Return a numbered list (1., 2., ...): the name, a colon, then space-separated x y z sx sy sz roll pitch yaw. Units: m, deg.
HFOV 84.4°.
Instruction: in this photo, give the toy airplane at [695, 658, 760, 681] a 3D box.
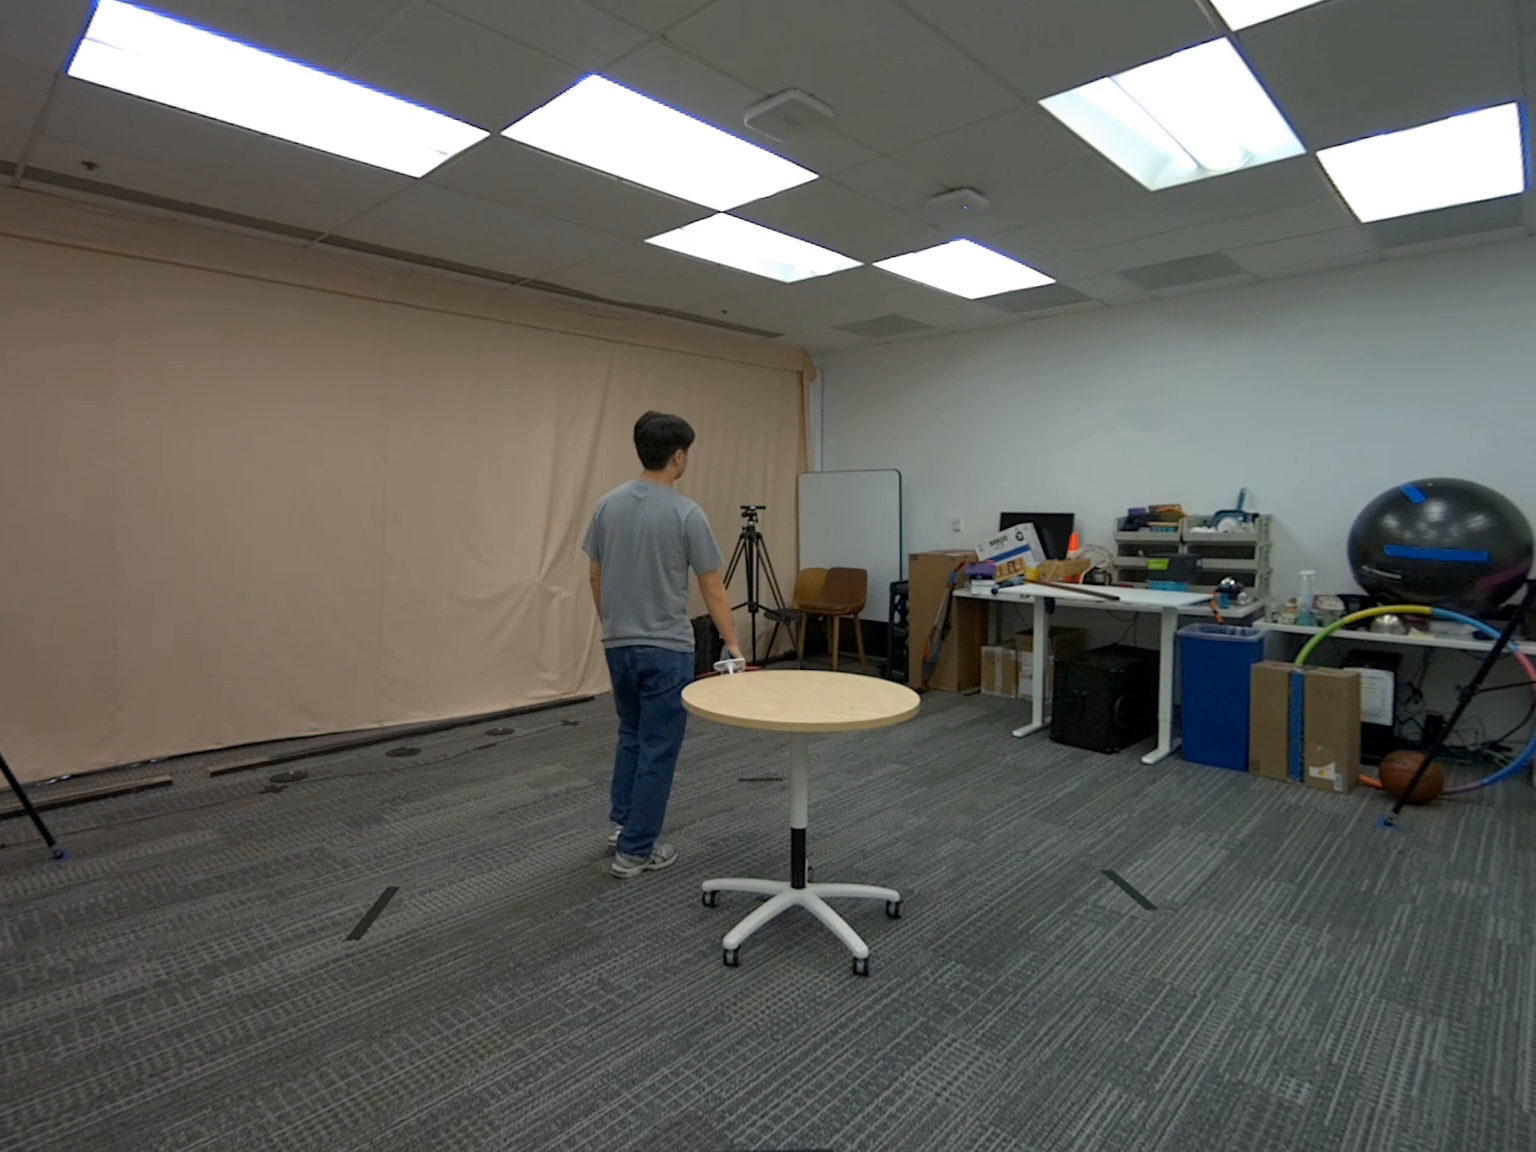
1. toy airplane: -0.140 0.410 3.250 0.246 0.258 0.160 16 32 -19
